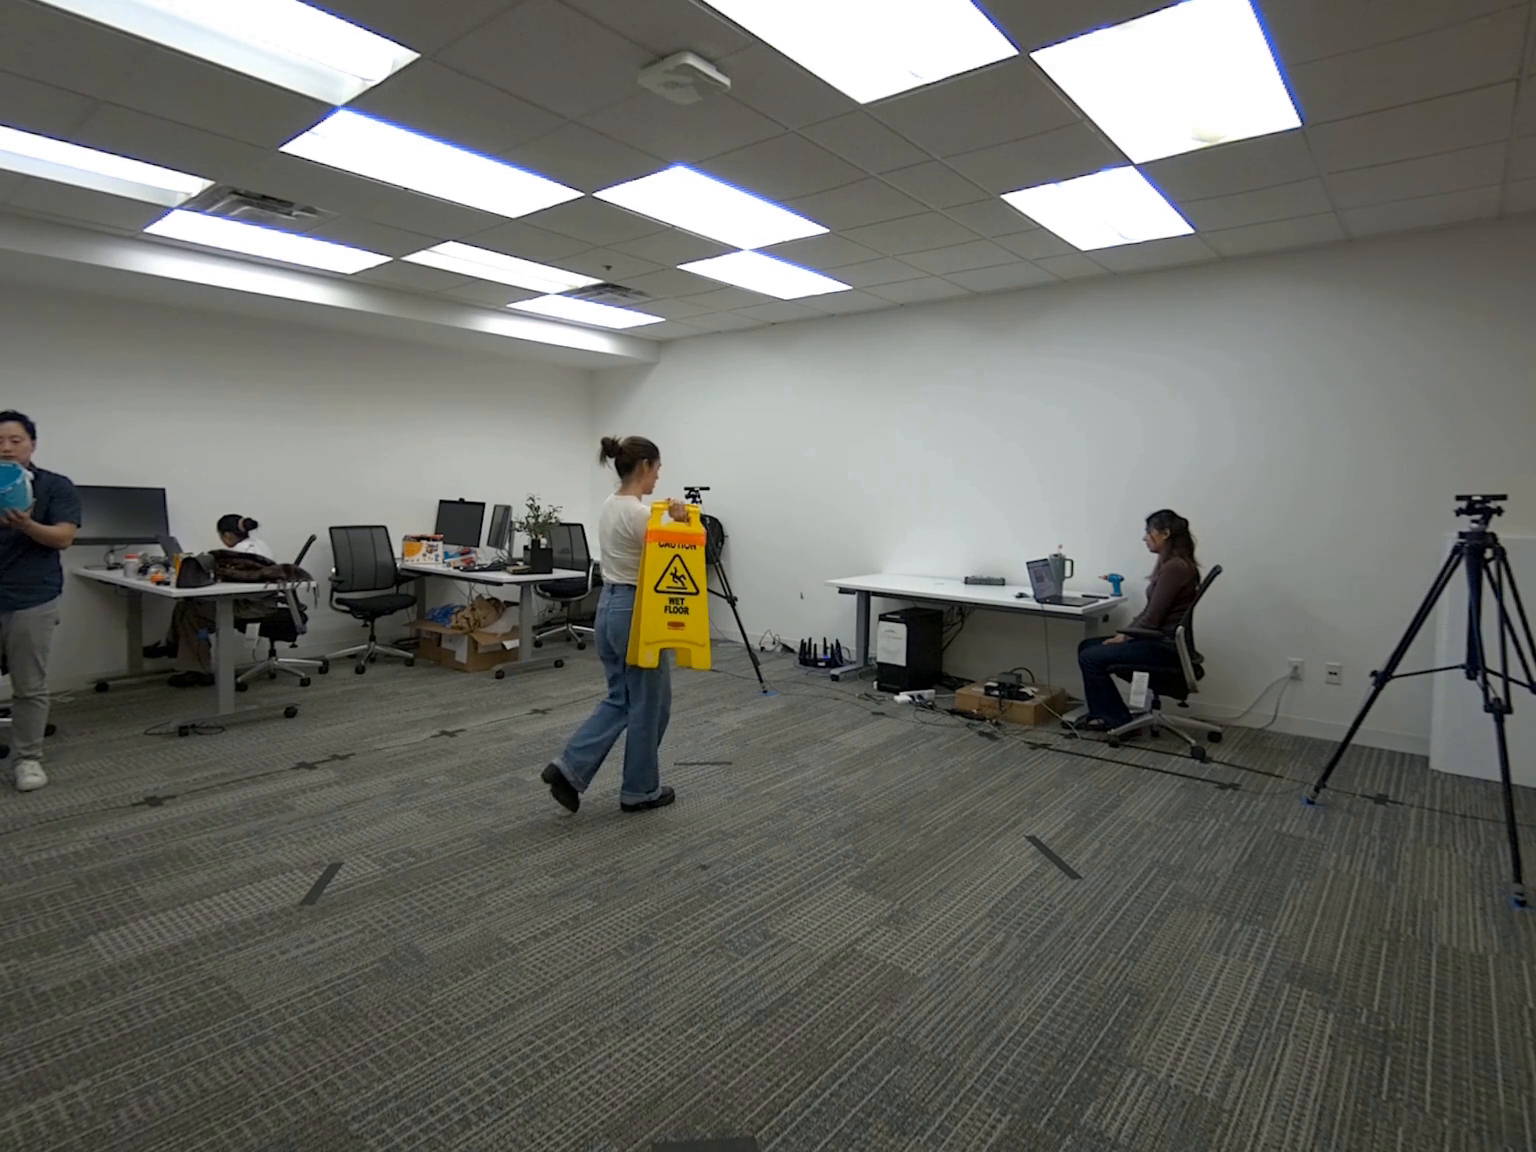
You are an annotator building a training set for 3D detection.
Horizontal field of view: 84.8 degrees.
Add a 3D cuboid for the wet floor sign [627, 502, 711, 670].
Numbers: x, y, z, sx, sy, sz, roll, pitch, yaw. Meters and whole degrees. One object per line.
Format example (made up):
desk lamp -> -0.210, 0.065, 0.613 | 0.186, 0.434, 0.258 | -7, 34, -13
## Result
wet floor sign -> -0.379, 0.024, 3.353 | 0.277, 0.650, 0.293 | 5, -7, -17
